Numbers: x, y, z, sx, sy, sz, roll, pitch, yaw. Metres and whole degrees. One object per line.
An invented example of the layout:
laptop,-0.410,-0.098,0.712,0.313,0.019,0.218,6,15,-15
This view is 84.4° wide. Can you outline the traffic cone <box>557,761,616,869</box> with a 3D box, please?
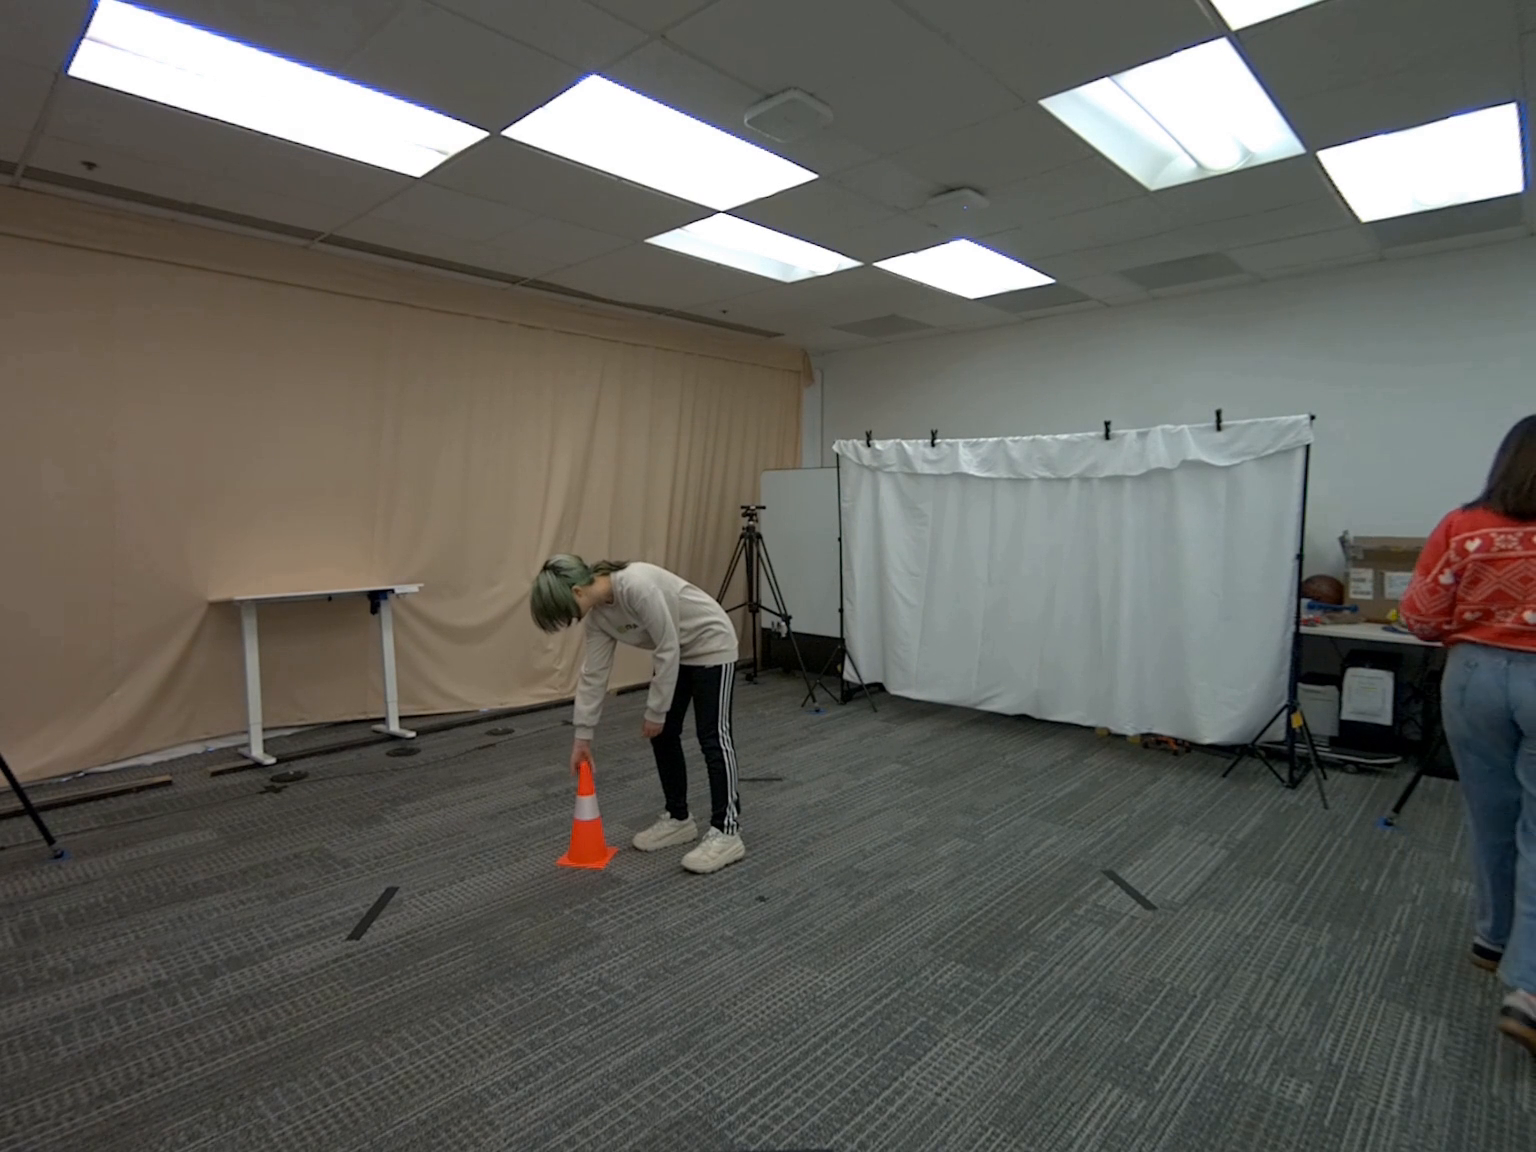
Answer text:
traffic cone,-0.721,0.932,3.349,0.207,0.383,0.201,0,3,10
